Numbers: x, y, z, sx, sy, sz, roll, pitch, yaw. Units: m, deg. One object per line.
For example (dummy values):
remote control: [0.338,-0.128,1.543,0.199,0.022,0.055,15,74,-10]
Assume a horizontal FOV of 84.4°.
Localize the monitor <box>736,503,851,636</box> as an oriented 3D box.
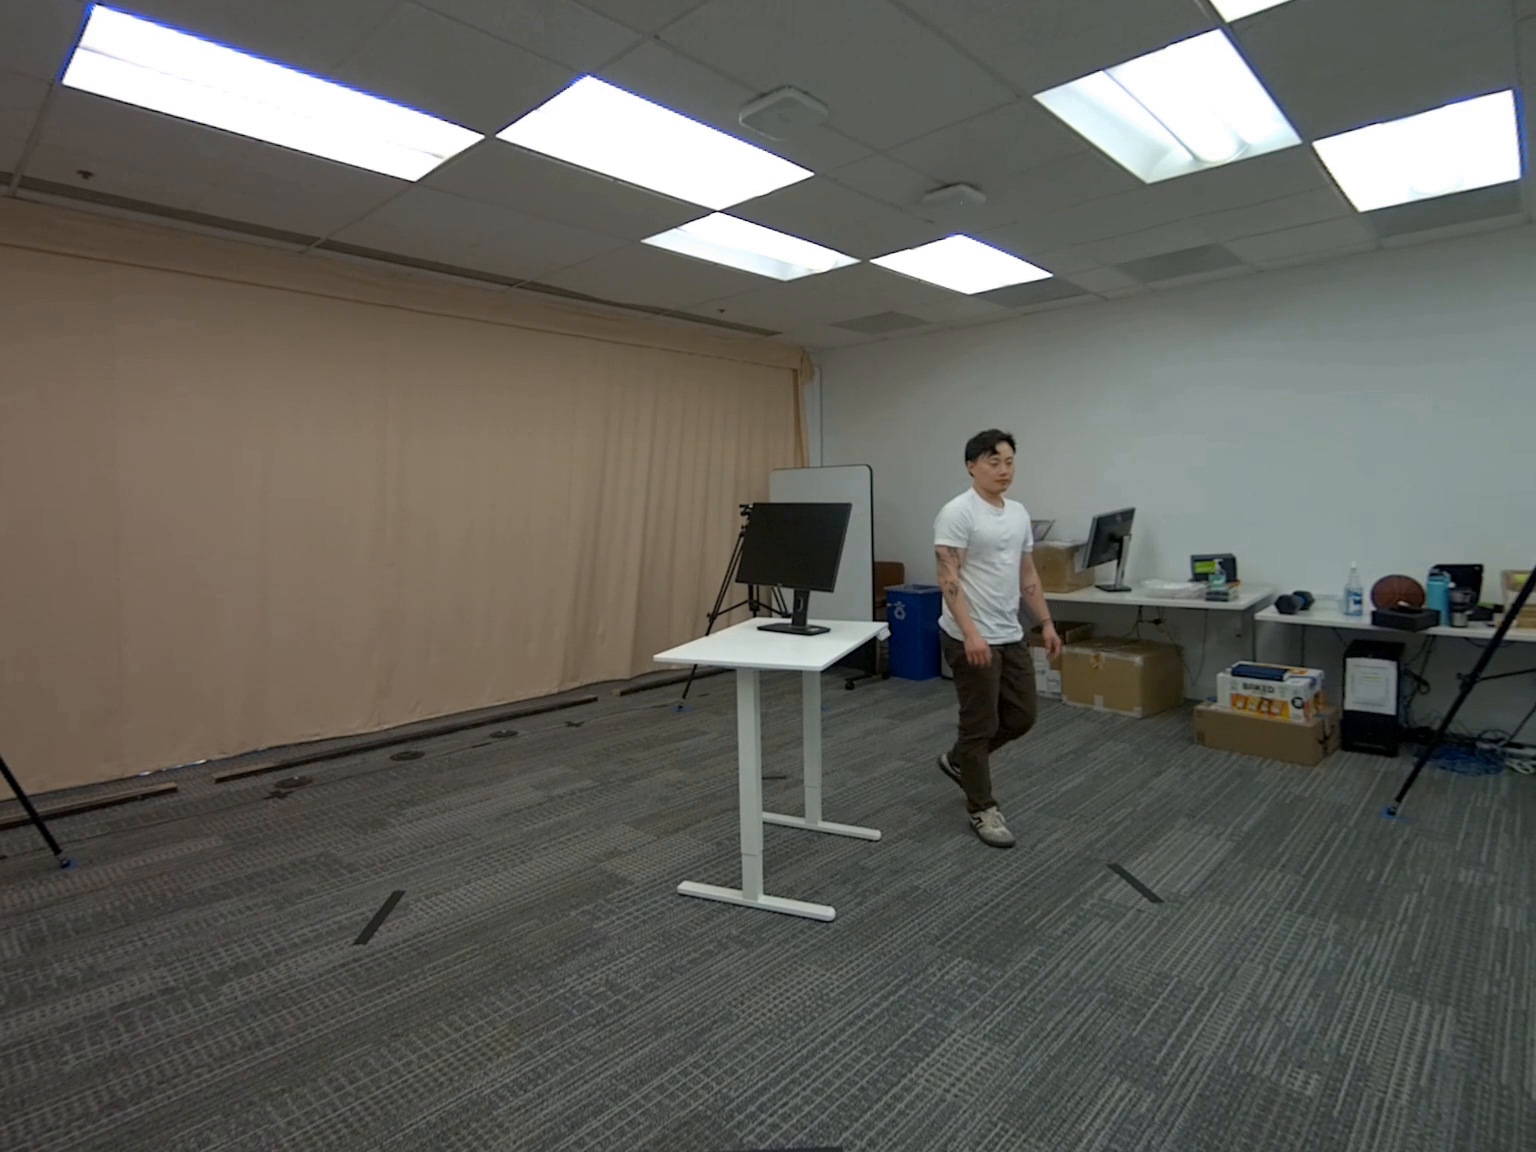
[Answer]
monitor: [0.114,-0.034,3.392,0.557,0.522,0.181,4,1,45]
